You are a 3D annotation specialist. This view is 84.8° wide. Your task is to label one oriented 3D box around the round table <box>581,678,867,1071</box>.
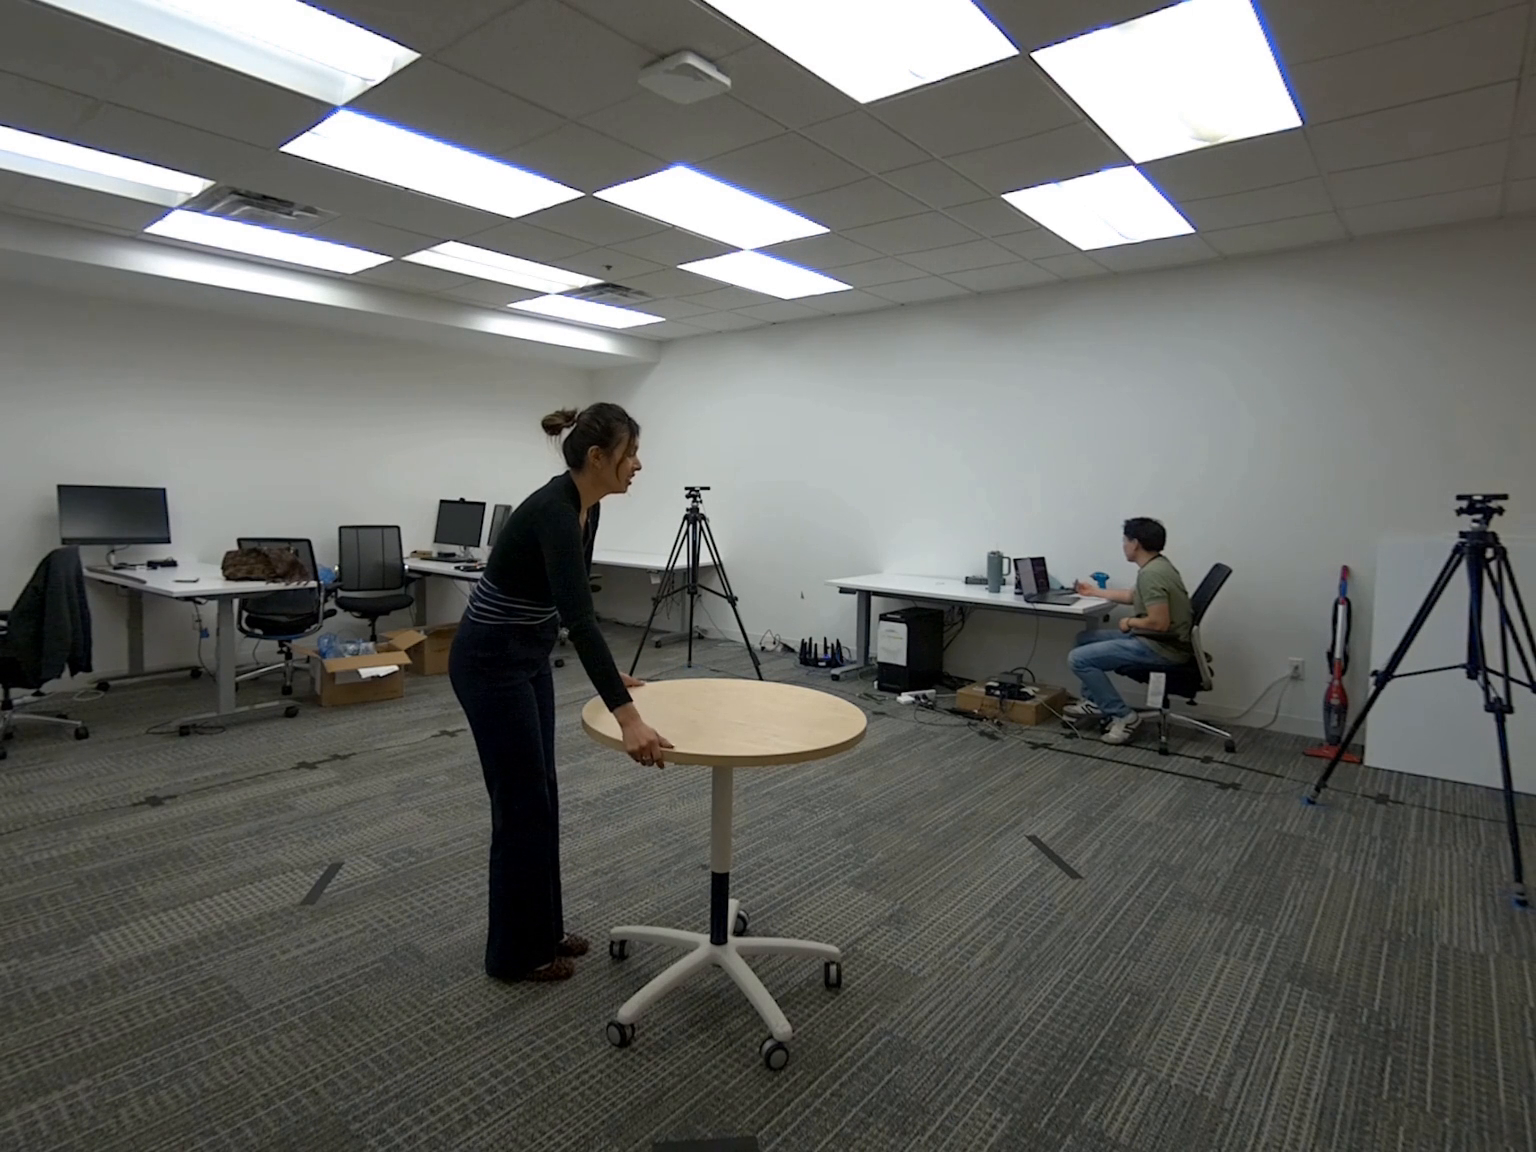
[{"bbox_3d":[-0.140,0.758,2.331,0.763,0.791,0.768,1,5,-2],"label":"round table"}]
